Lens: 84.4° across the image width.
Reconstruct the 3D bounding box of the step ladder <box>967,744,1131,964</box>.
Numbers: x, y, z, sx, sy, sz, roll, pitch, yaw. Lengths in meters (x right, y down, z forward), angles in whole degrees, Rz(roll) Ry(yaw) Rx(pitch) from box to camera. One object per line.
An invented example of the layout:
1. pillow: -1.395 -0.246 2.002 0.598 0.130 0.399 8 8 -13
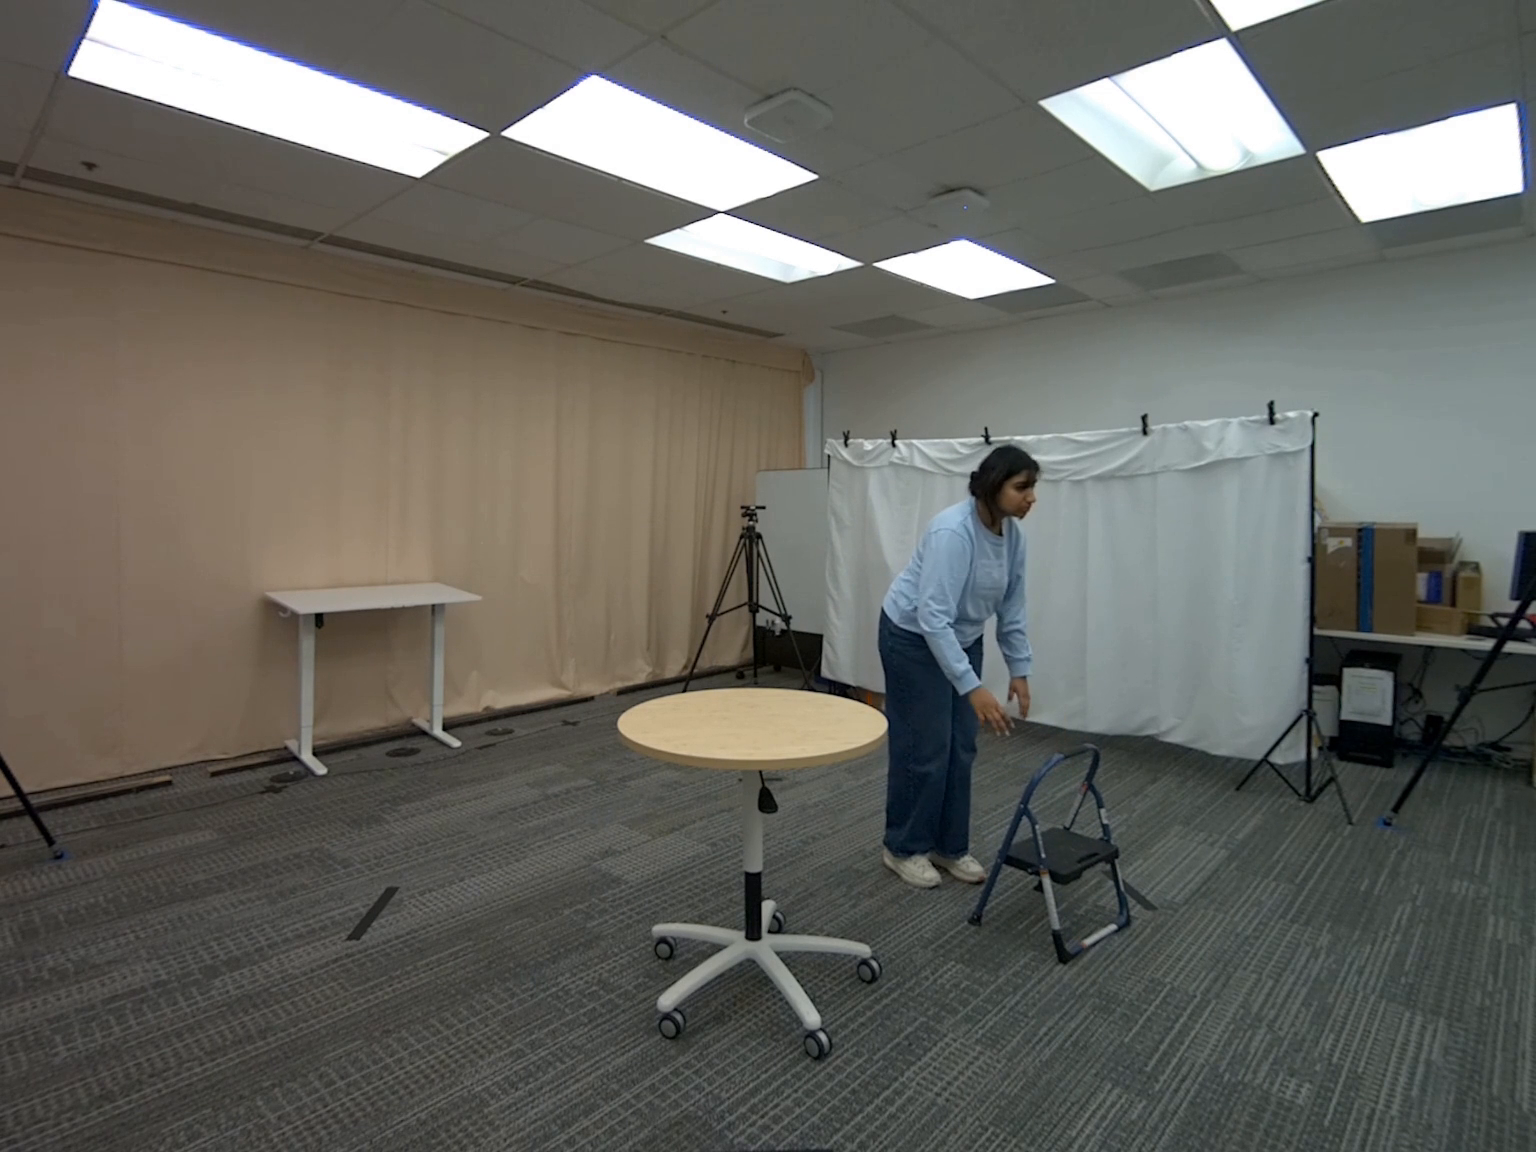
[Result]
1. step ladder: 0.950 0.858 2.784 0.417 0.605 0.361 -2 4 -40
